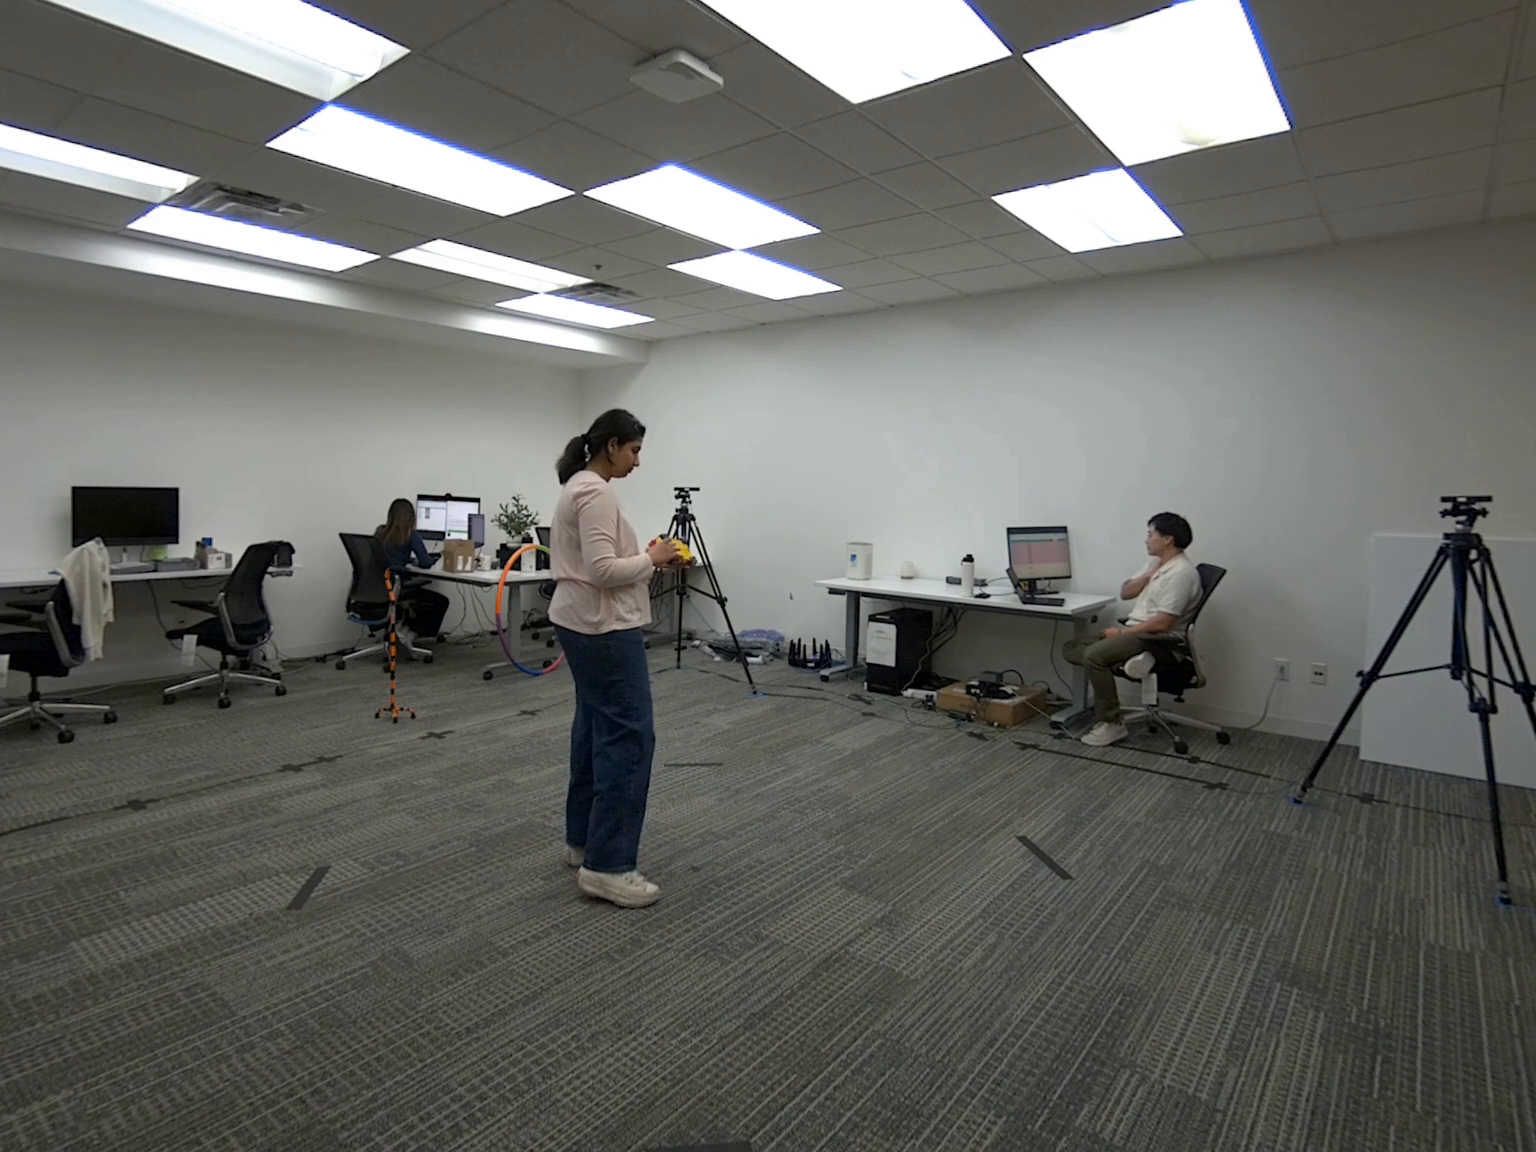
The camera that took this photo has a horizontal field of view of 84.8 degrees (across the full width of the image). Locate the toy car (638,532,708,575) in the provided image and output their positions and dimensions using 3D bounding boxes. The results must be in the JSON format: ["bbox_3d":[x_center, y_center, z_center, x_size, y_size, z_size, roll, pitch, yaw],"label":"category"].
[{"bbox_3d":[-0.368,-0.092,3.240,0.084,0.133,0.247,-38,-17,29],"label":"toy car"}]
